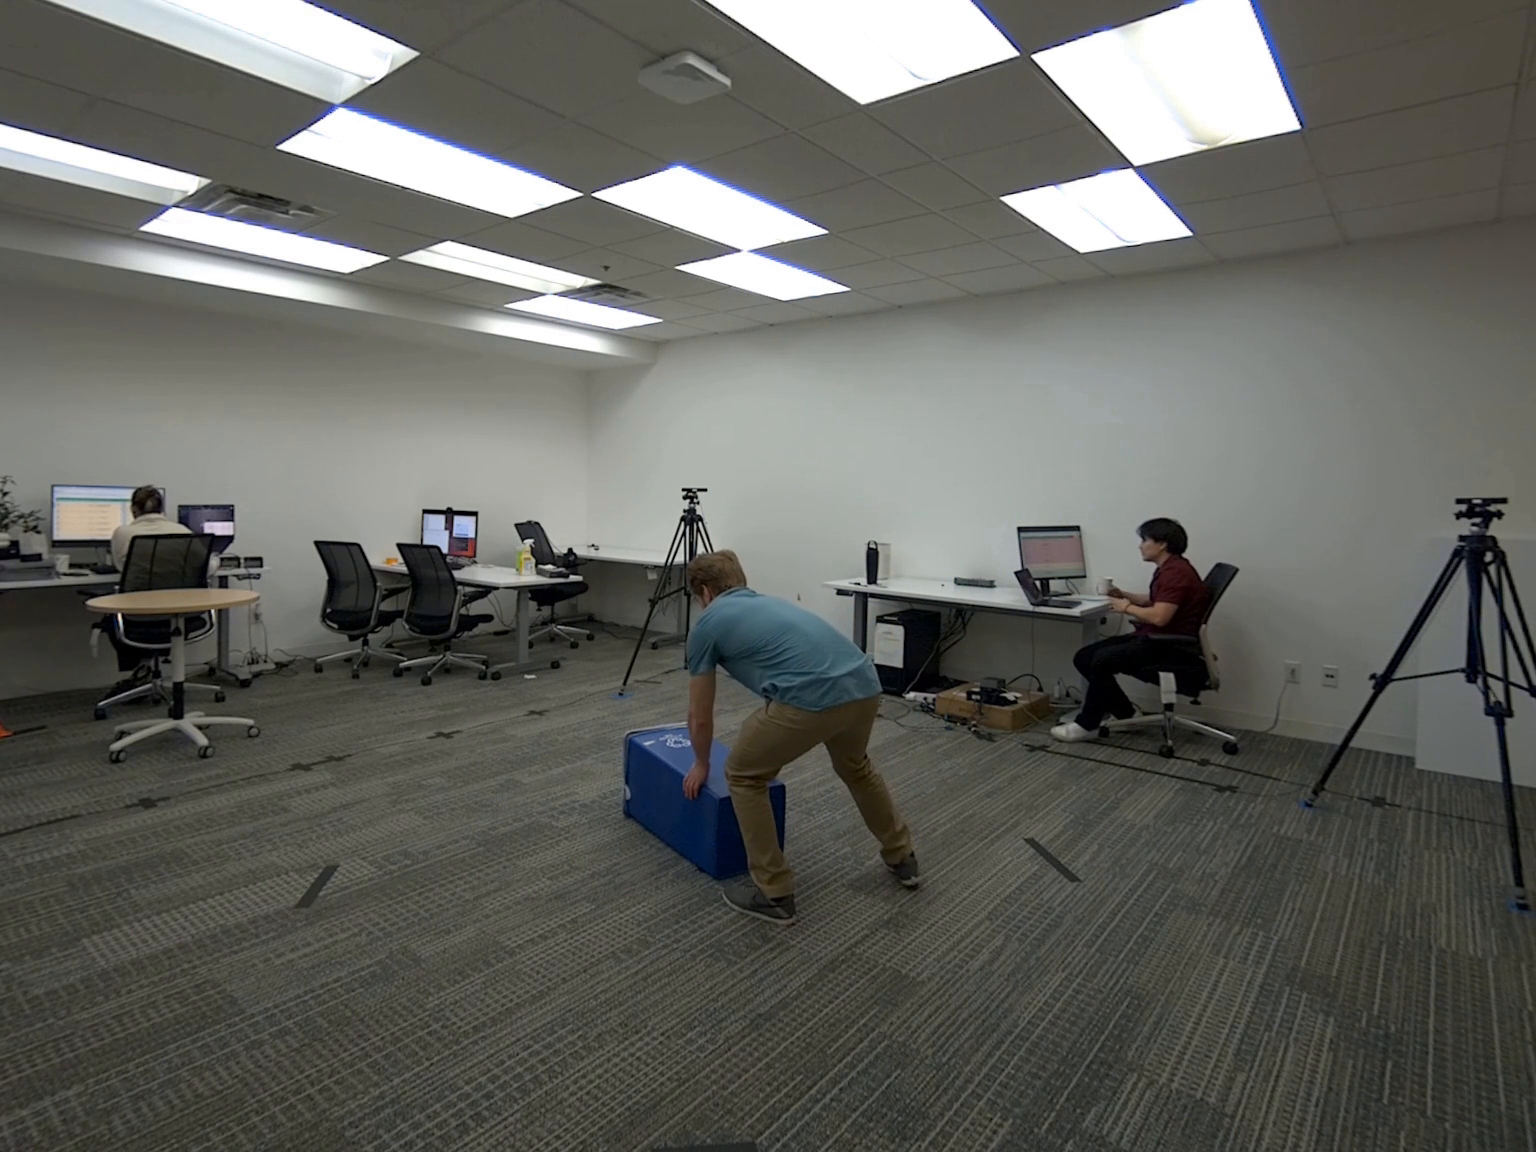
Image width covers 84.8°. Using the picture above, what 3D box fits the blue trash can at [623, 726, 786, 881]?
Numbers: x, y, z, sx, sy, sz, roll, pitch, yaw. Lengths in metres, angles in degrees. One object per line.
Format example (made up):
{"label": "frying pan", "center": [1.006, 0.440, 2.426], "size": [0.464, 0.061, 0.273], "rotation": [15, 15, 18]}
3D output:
{"label": "blue trash can", "center": [-0.273, 0.876, 3.380], "size": [0.363, 0.376, 0.738], "rotation": [-2, 9, -34]}
